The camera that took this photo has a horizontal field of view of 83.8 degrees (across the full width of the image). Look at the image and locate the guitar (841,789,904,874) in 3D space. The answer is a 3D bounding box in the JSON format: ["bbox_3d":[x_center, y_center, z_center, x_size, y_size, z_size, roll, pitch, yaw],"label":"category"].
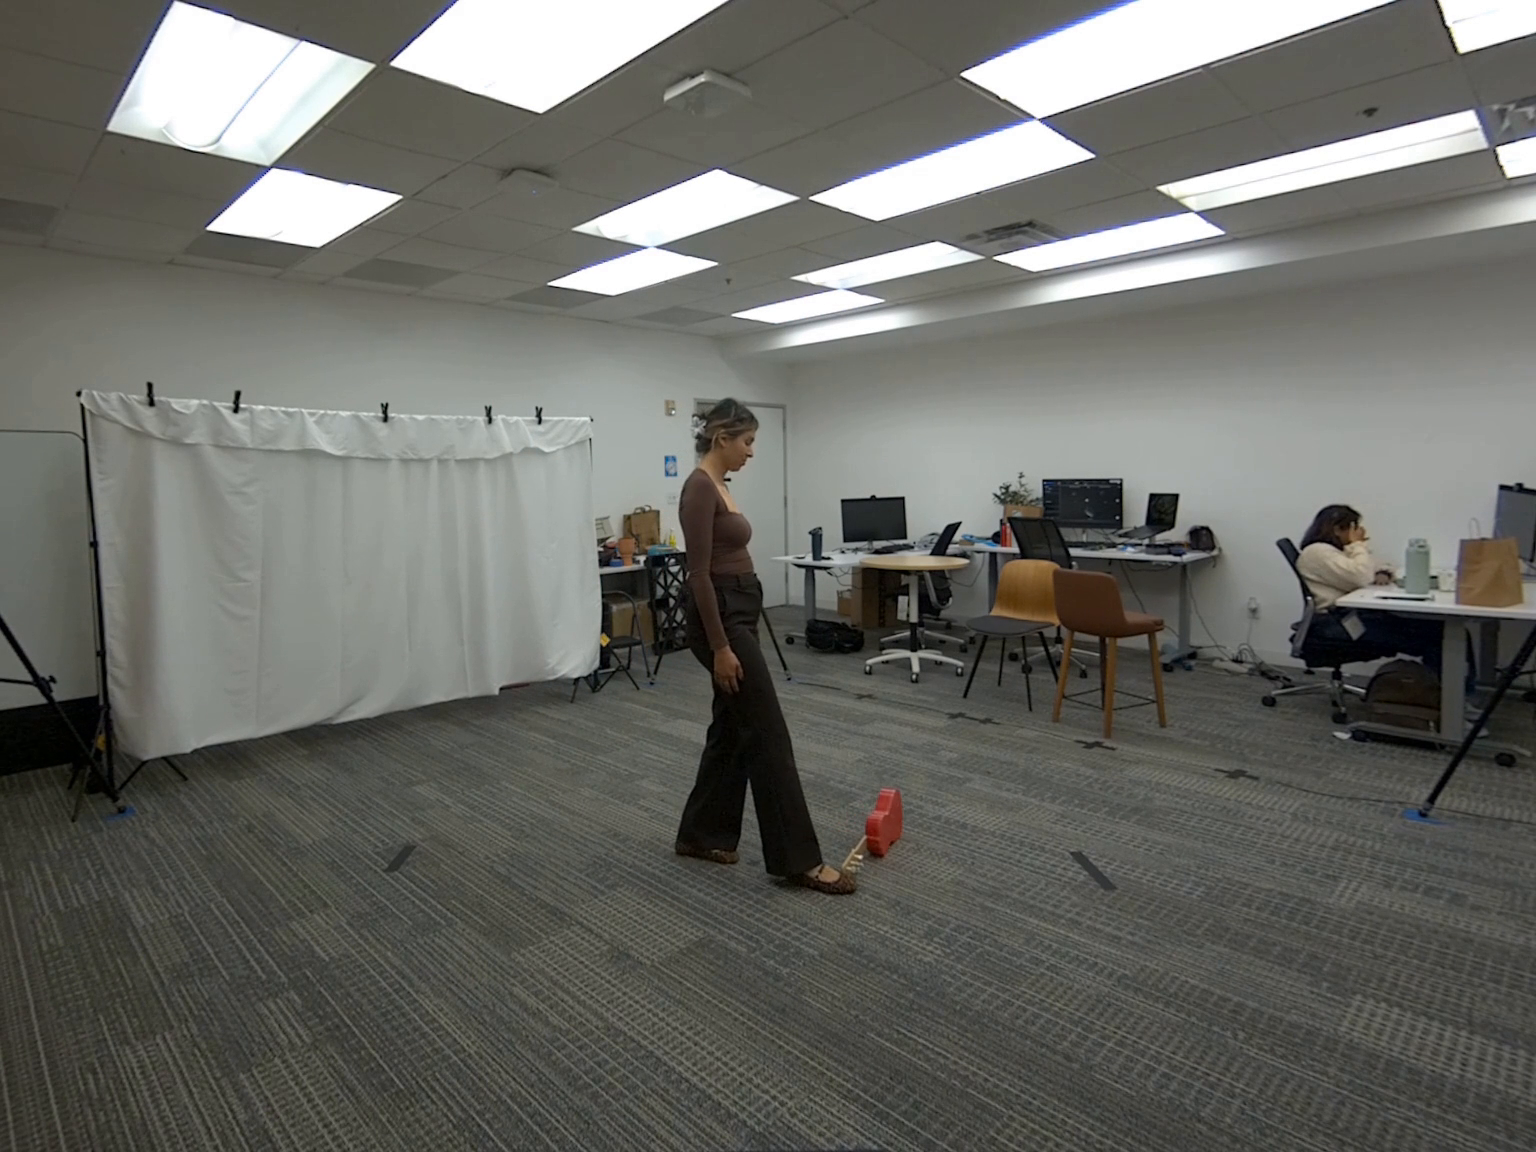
[{"bbox_3d":[0.396,0.989,3.140,0.072,0.189,0.496,-2,23,26],"label":"guitar"}]
